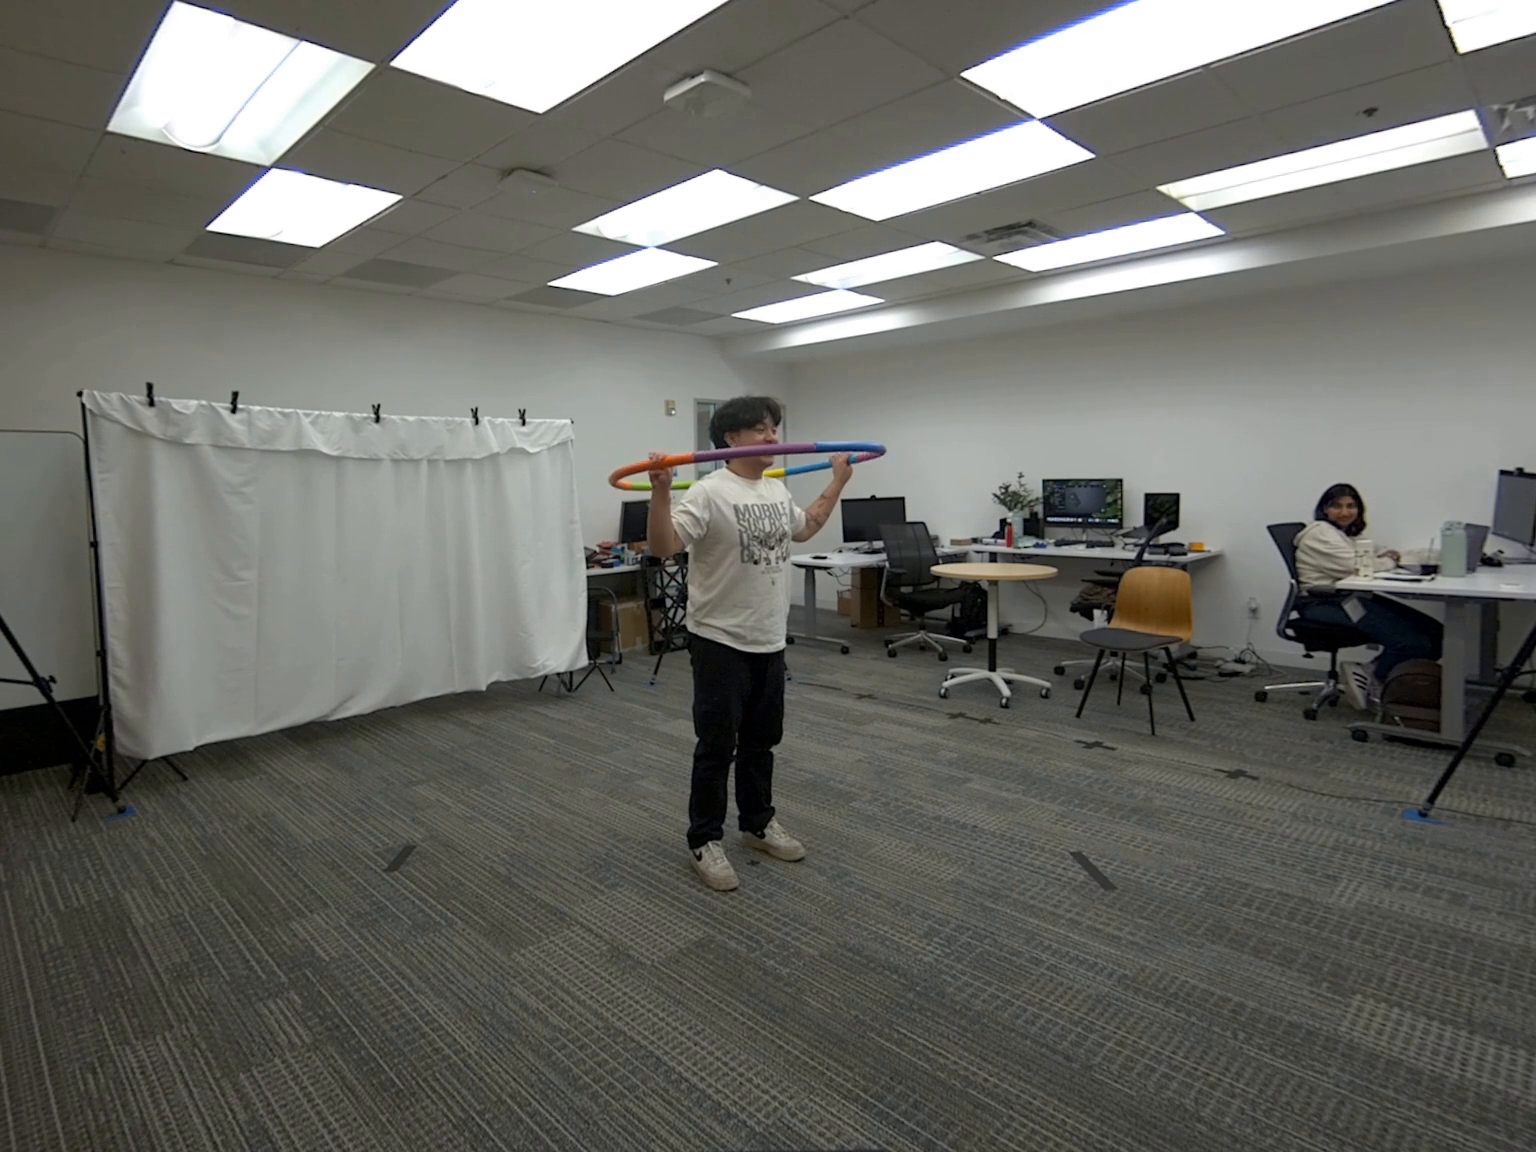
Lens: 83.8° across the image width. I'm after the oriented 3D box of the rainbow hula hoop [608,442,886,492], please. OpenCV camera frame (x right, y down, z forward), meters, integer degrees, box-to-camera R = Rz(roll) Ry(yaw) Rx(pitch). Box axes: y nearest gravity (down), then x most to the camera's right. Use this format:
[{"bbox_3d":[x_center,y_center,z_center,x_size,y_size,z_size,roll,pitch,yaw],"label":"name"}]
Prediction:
[{"bbox_3d":[-0.077,-0.383,3.036,0.984,0.051,0.986,-7,2,-2],"label":"rainbow hula hoop"}]
